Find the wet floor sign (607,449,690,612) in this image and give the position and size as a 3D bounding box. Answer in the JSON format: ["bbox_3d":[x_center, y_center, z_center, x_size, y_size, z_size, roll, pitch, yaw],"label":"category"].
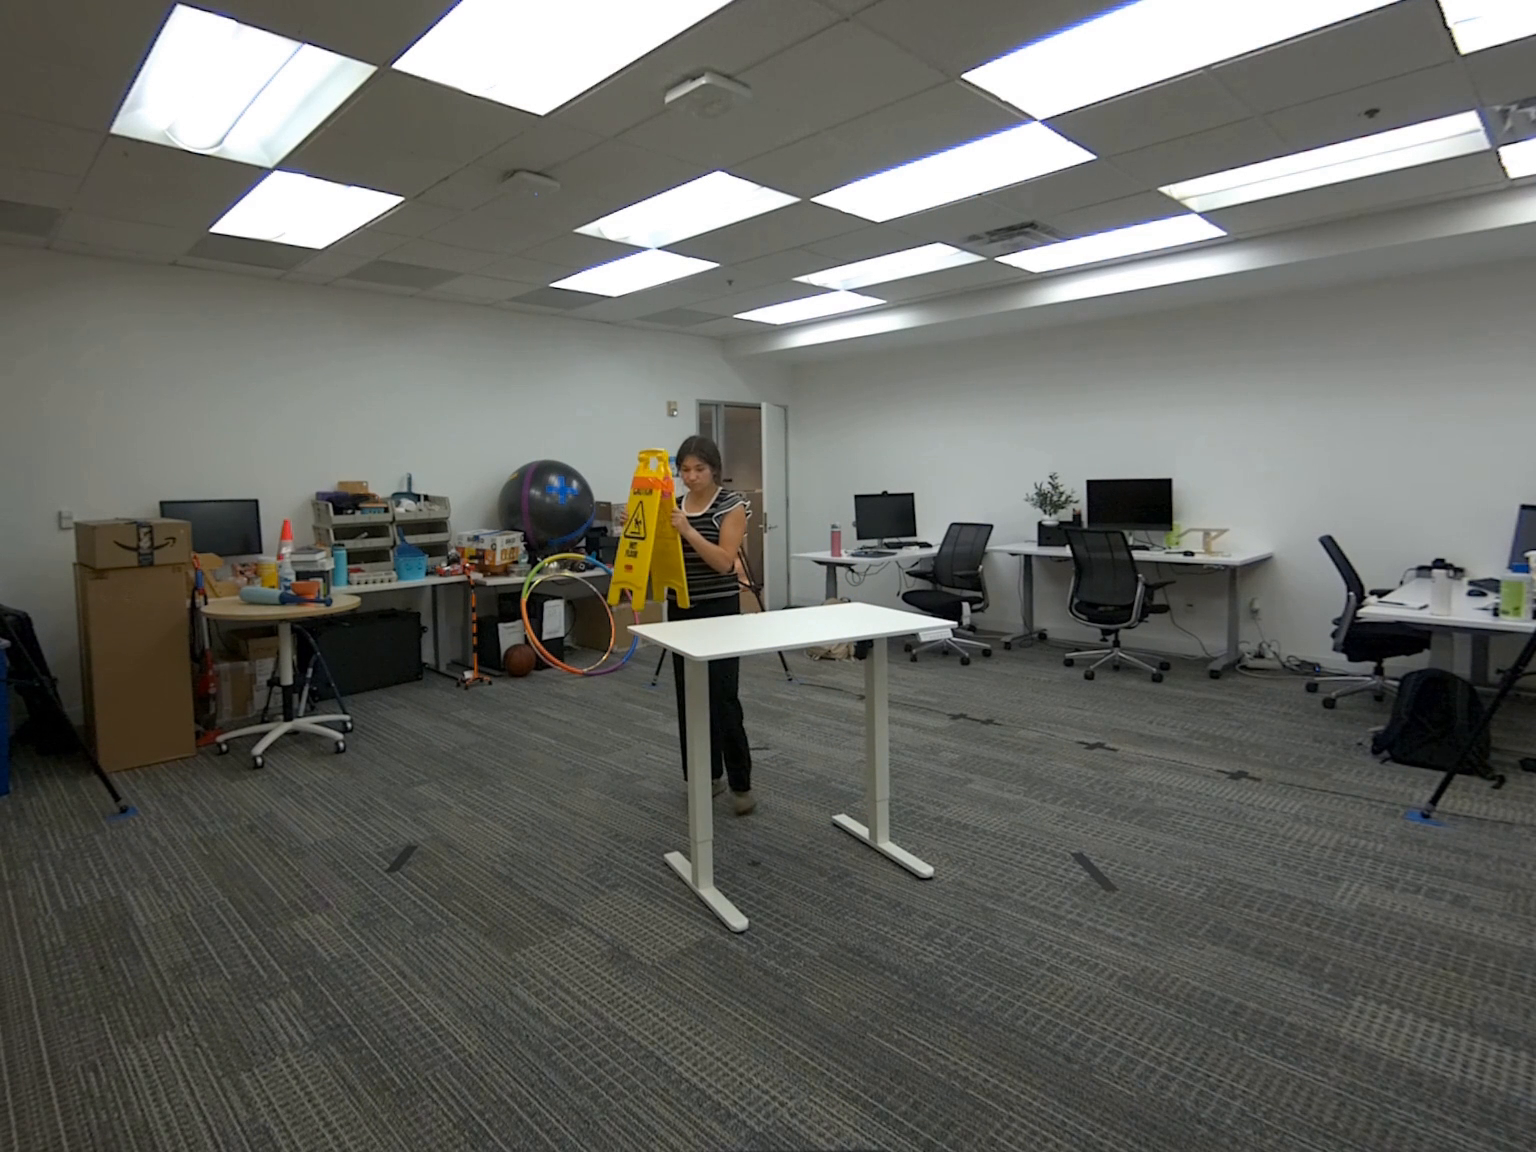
[{"bbox_3d":[-0.474,-0.199,3.554,0.282,0.644,0.291,-1,6,-40],"label":"wet floor sign"}]
